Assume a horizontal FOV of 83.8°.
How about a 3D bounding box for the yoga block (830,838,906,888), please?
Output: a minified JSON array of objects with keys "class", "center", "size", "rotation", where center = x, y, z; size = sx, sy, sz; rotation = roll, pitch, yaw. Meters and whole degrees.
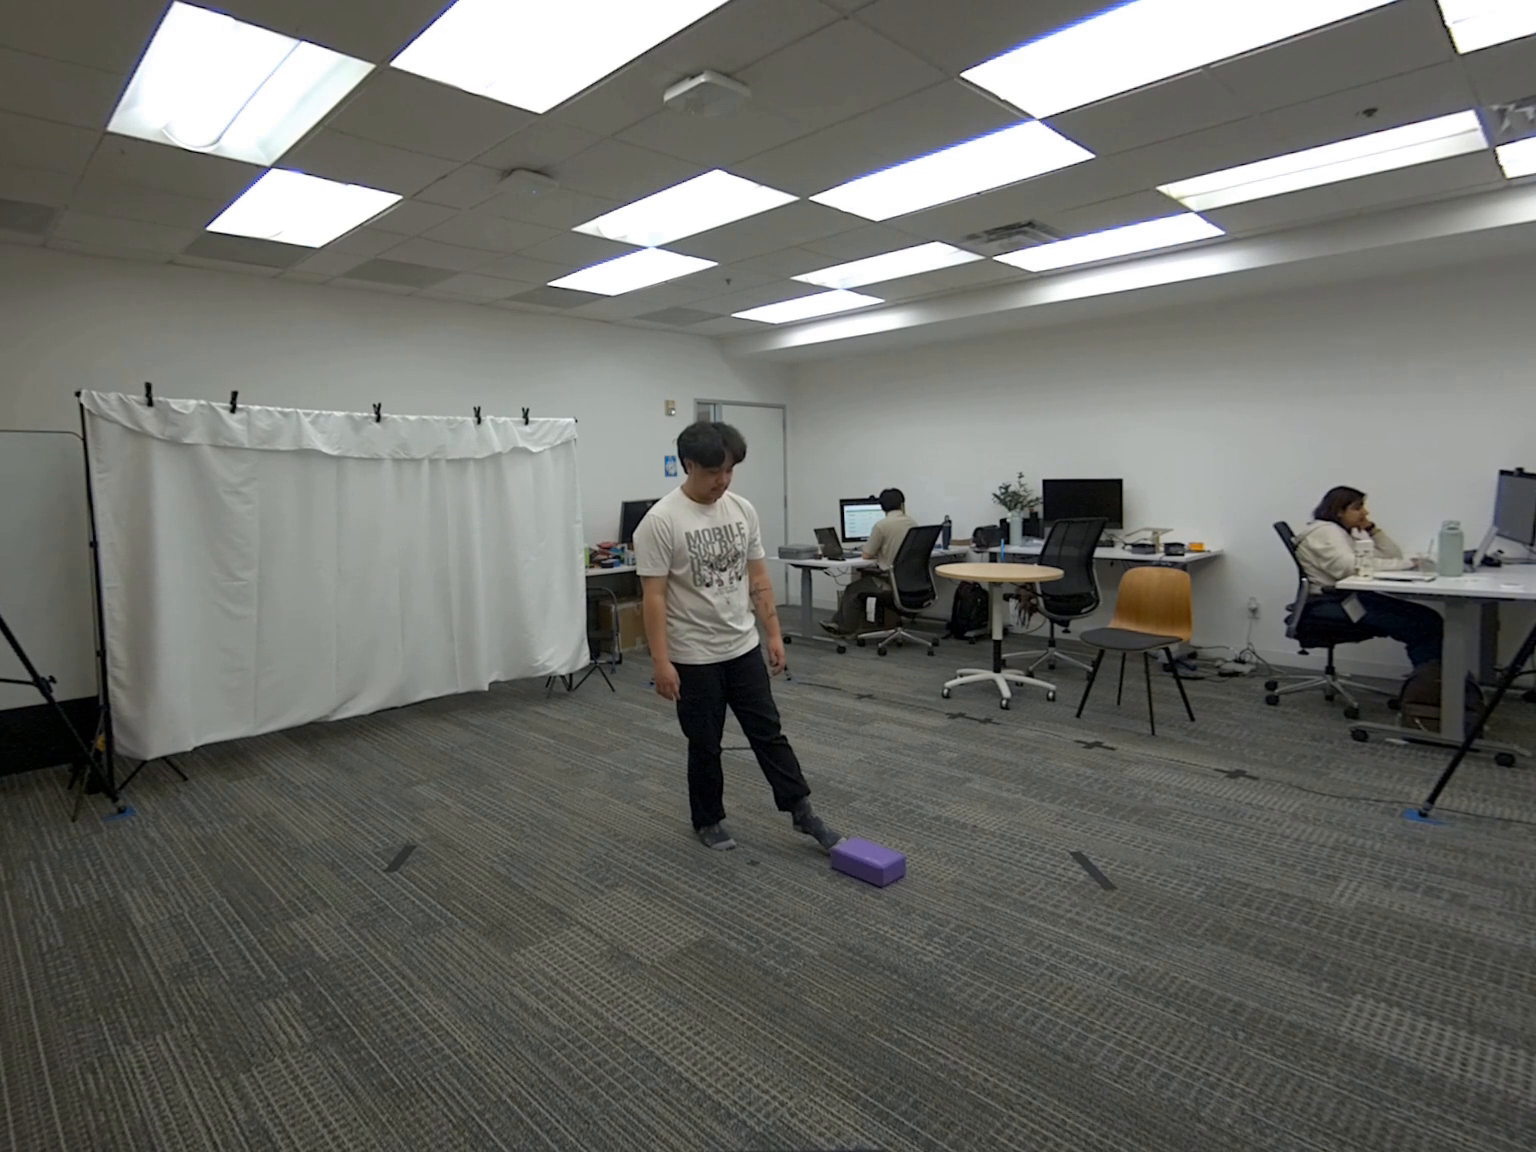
[{"class":"yoga block","center":[0.353,1.005,3.020],"size":[0.145,0.076,0.236],"rotation":[-6,8,-45]}]
